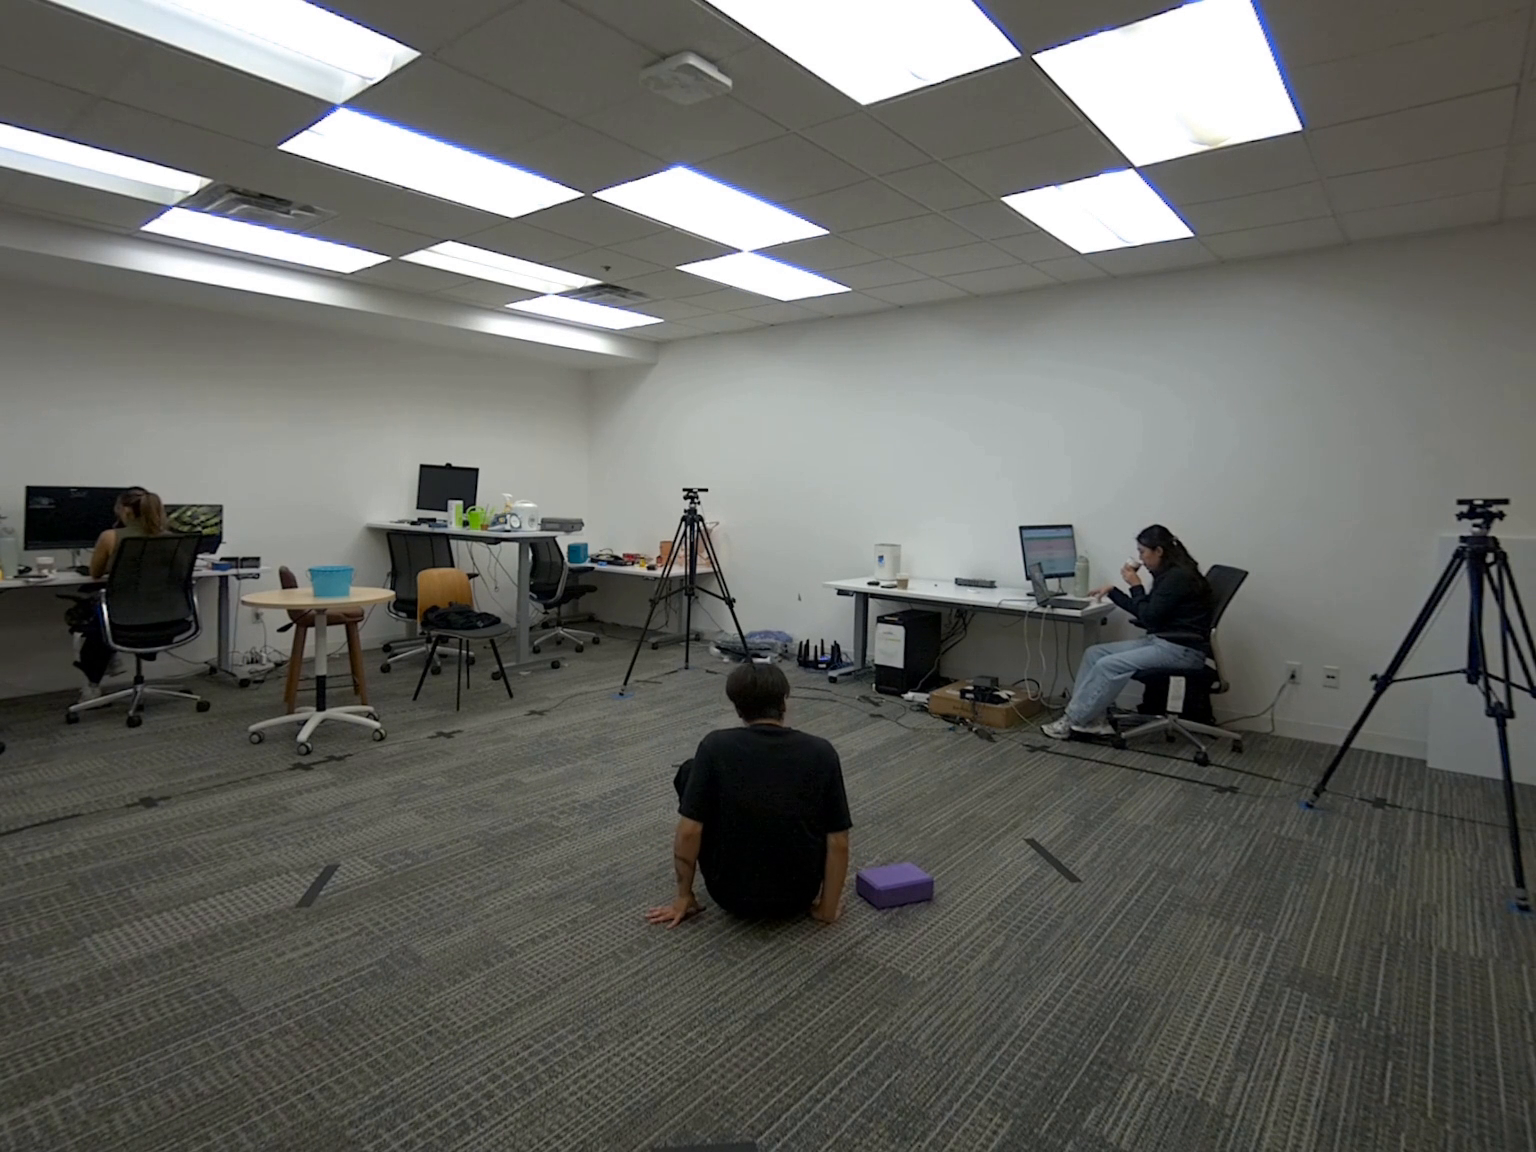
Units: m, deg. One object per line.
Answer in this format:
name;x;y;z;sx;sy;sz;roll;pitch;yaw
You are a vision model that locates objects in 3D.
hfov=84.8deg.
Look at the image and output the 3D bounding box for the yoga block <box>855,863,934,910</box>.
yoga block;0.430;1.066;2.932;0.224;0.076;0.153;-1;6;-22
